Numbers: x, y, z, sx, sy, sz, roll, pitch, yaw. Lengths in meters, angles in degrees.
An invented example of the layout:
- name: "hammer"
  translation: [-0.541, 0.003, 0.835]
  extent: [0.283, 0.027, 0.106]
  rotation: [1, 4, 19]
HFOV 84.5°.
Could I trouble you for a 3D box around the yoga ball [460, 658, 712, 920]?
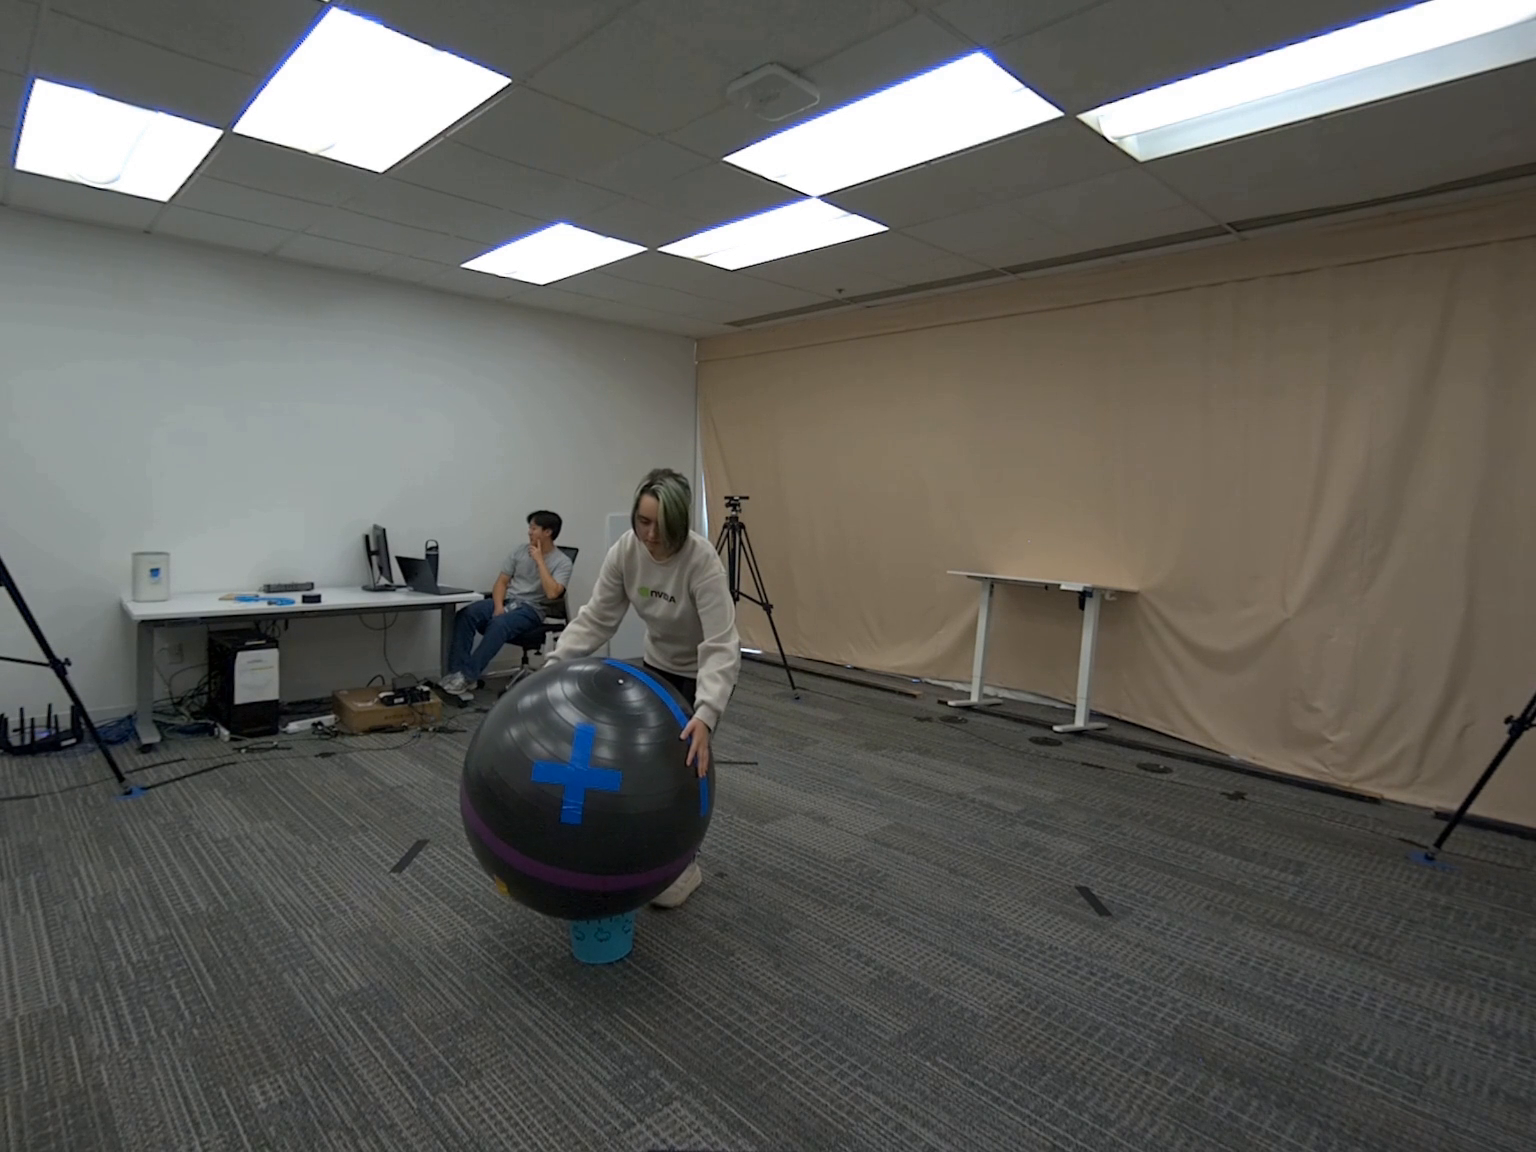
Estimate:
- name: "yoga ball"
  translation: [-0.544, 0.635, 2.536]
  extent: [0.757, 0.756, 0.761]
  rotation: [1, 4, -1]
